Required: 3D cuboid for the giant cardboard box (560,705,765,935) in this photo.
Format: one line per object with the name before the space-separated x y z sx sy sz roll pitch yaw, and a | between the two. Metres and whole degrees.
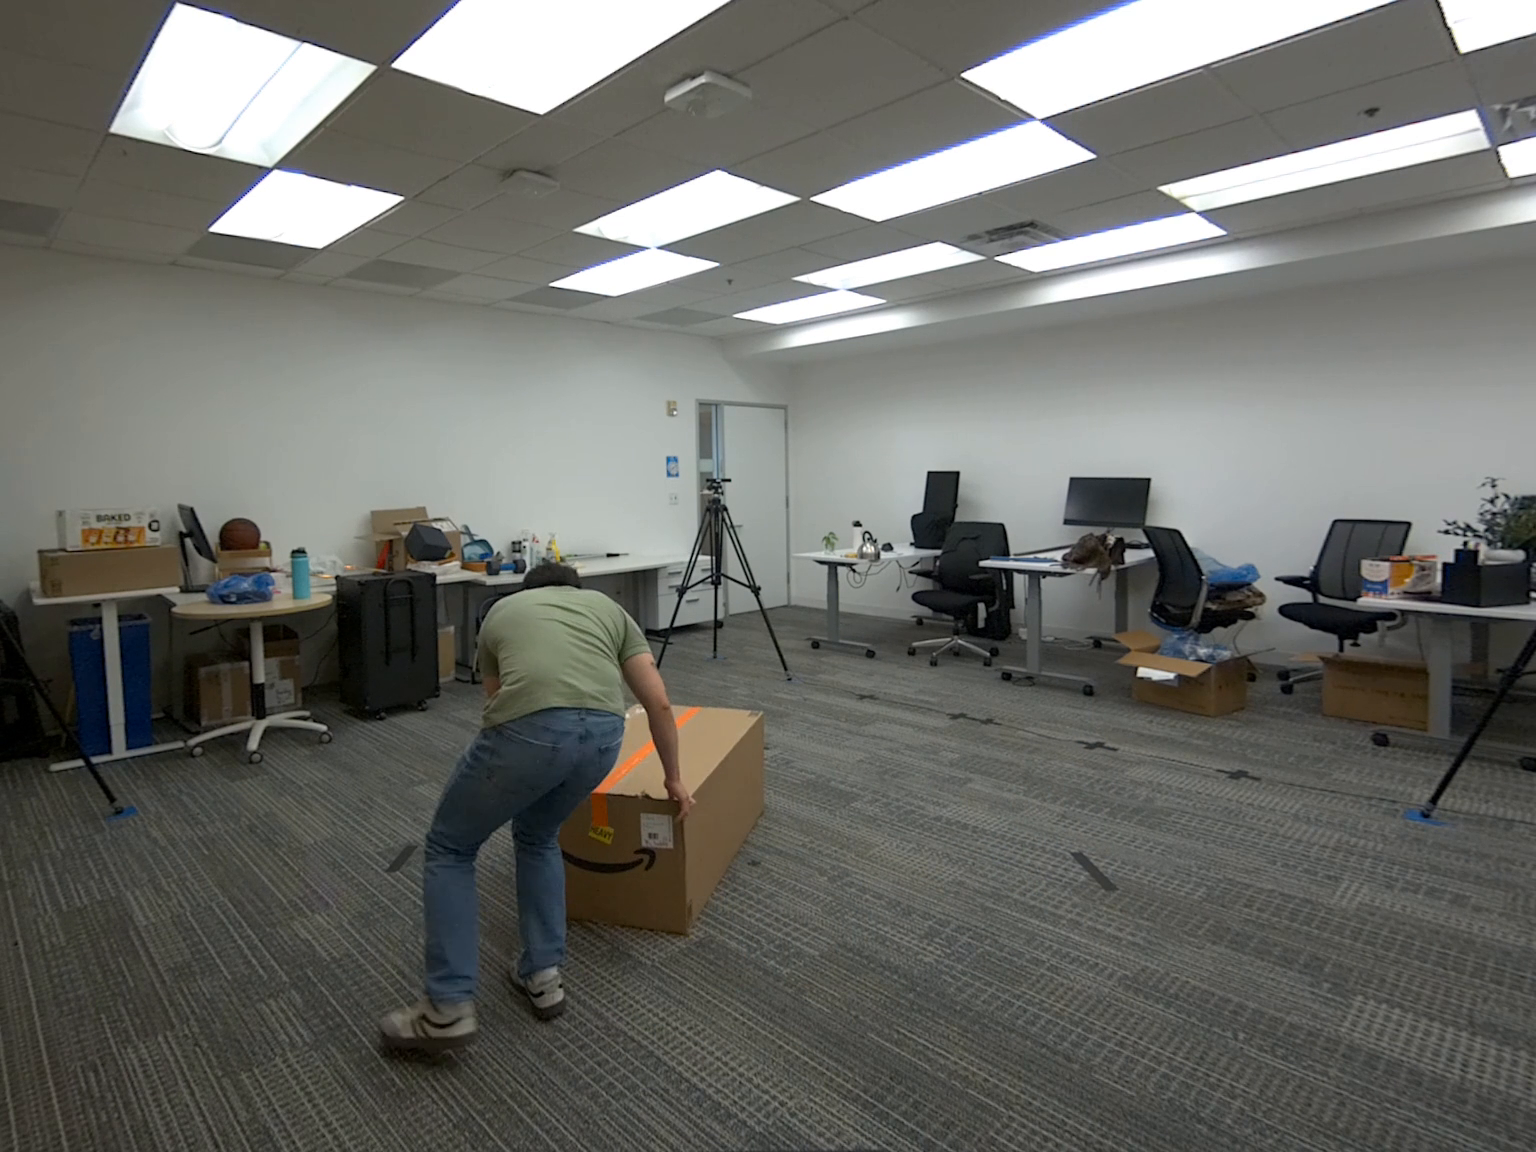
giant cardboard box | -0.404 0.828 3.181 0.586 0.424 1.016 -1 6 14
